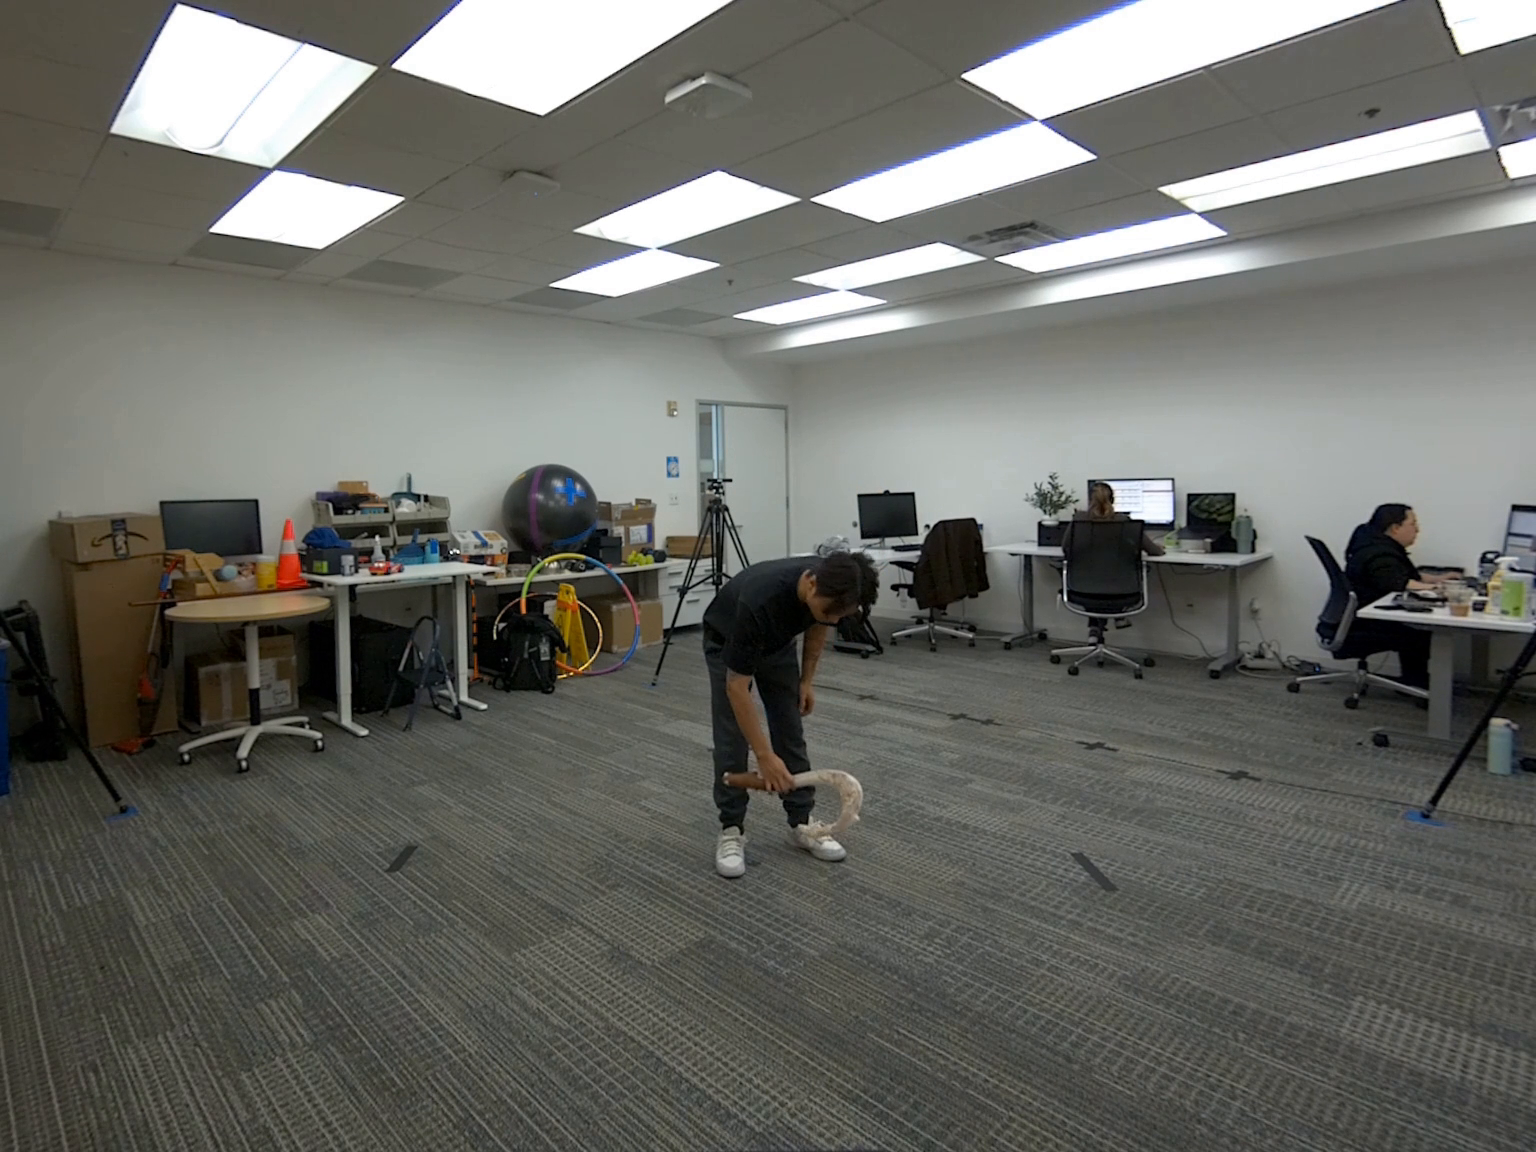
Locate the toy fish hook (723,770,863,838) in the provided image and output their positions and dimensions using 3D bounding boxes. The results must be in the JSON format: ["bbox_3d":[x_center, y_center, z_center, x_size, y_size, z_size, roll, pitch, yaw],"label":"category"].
[{"bbox_3d":[0.068,0.730,2.812,0.518,0.228,0.046,-3,-43,27],"label":"toy fish hook"}]
